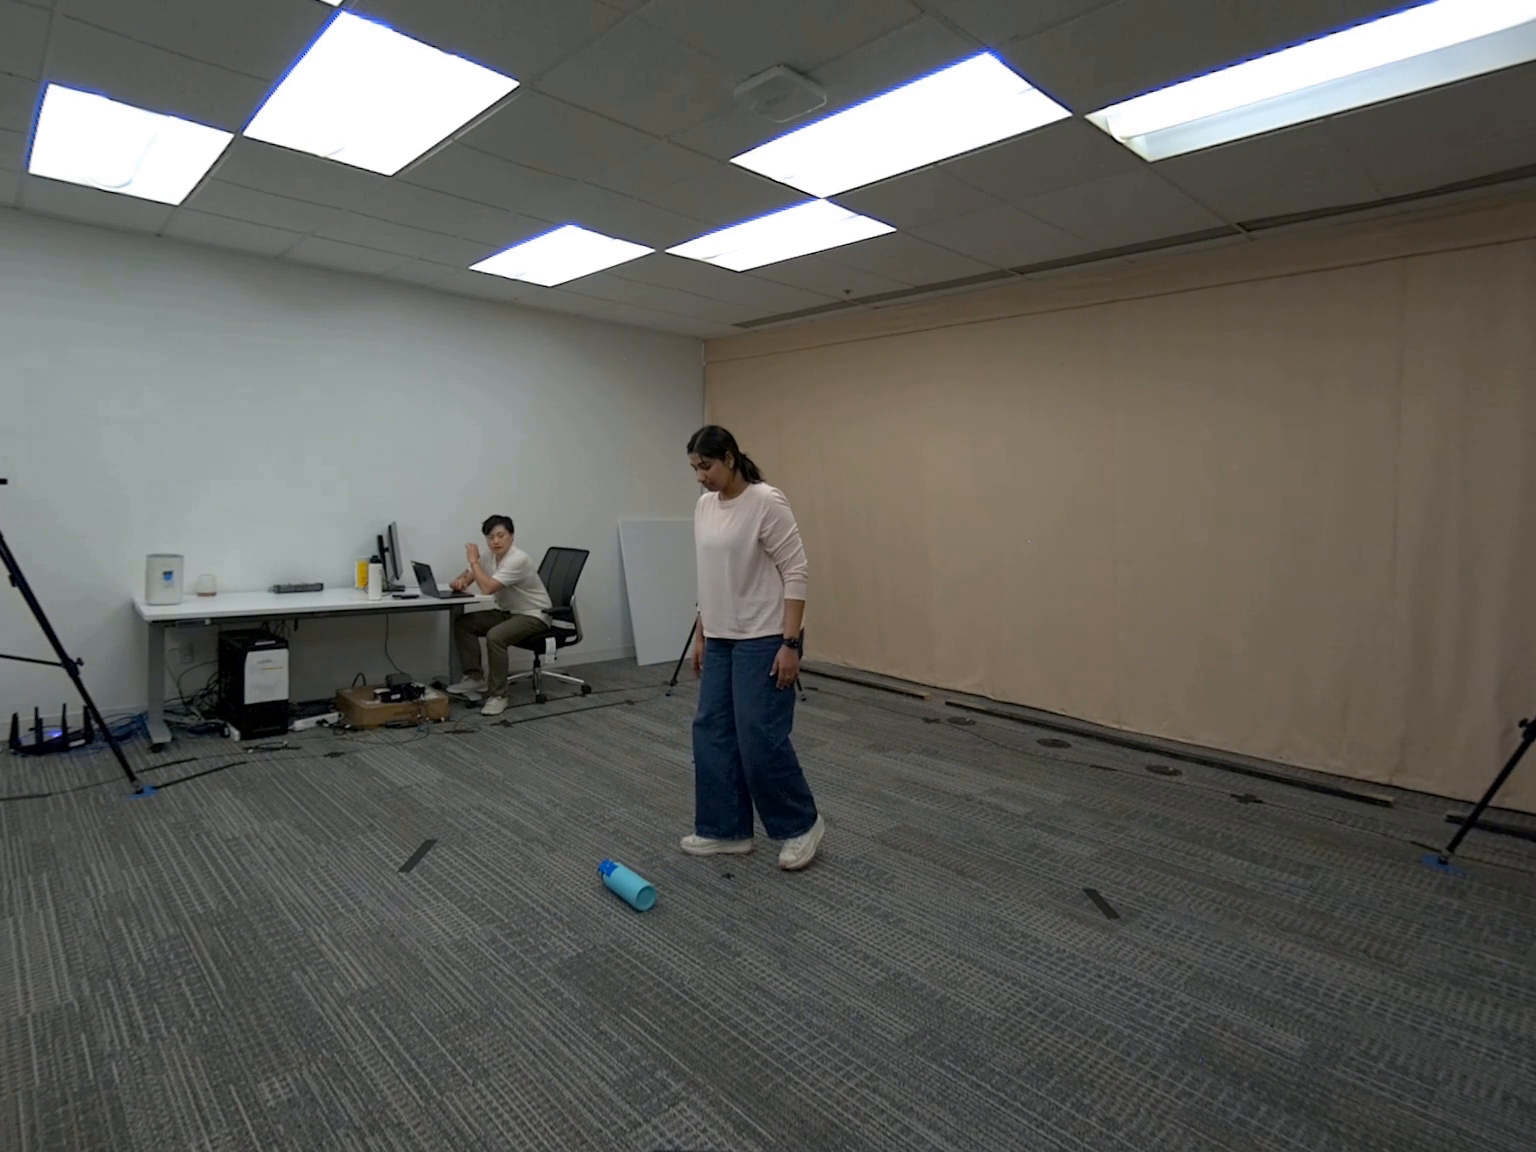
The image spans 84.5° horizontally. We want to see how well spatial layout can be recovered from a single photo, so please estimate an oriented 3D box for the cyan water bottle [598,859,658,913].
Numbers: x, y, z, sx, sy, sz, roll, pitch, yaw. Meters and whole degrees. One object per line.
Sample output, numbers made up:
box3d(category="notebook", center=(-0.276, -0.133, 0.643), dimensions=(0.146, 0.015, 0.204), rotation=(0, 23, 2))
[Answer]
box3d(category="cyan water bottle", center=(-0.505, 1.068, 2.928), dimensions=(0.090, 0.092, 0.291), rotation=(-2, 6, -39))
